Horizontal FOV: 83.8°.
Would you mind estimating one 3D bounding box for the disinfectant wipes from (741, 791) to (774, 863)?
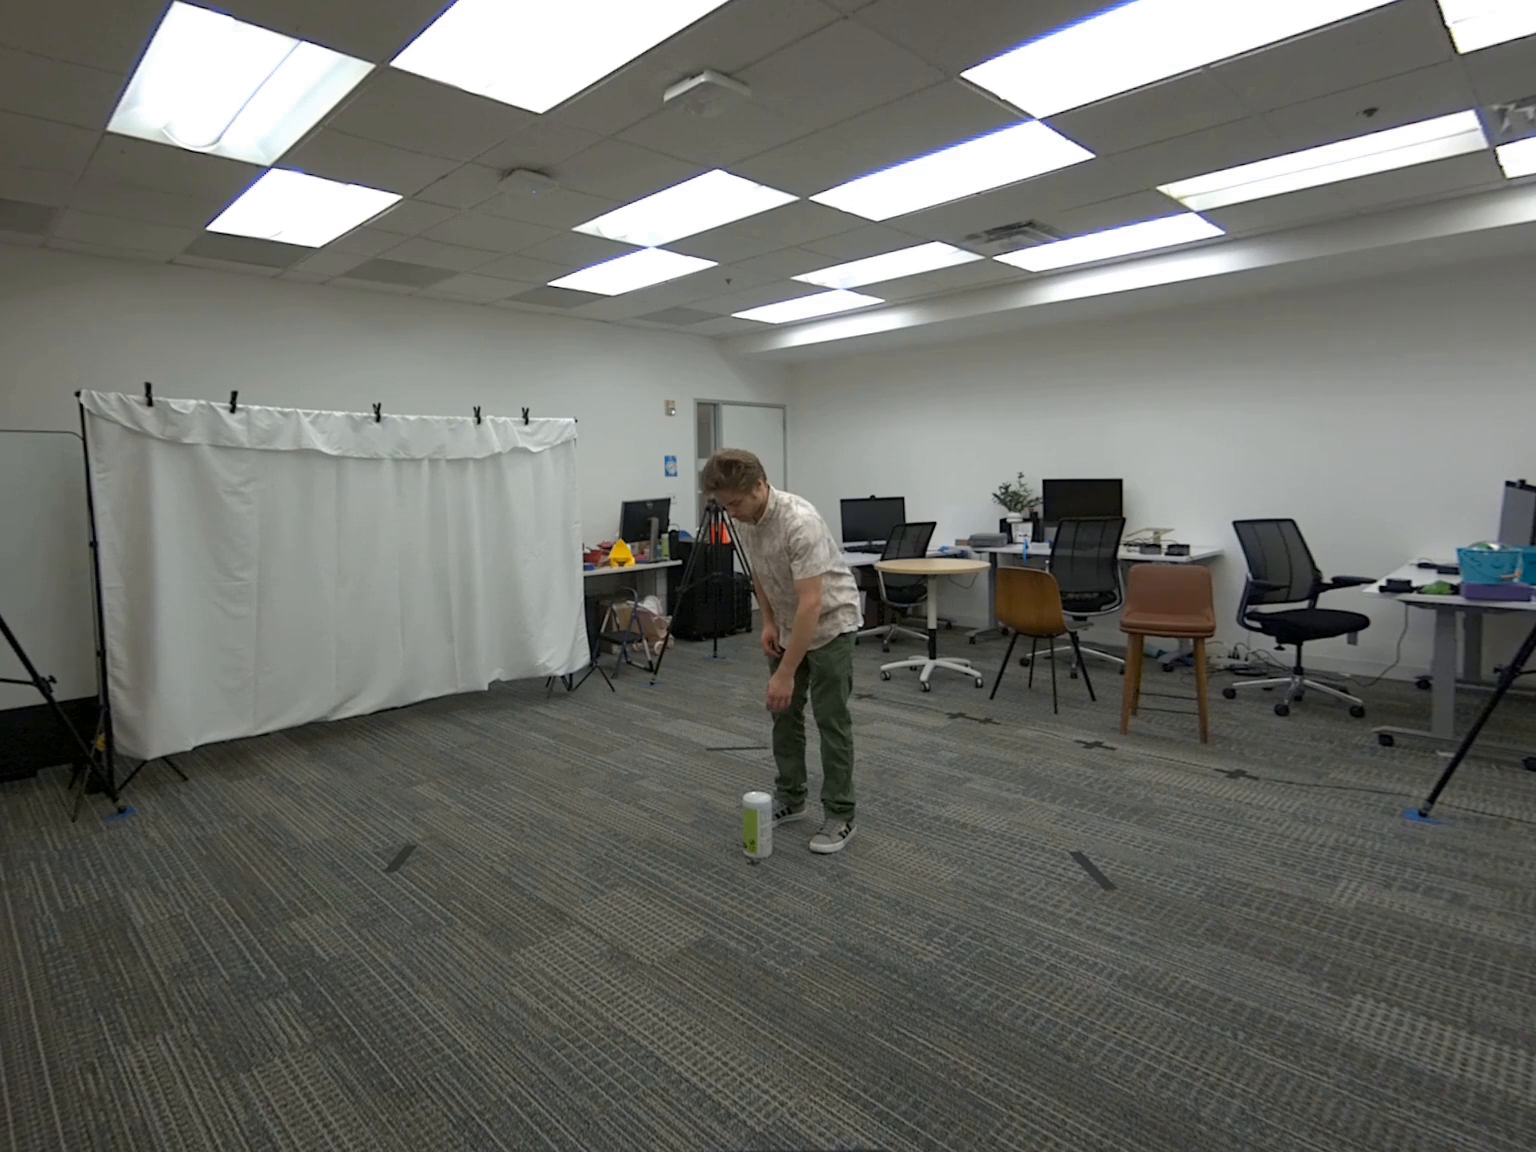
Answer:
[{"bbox_3d":[-0.035,0.927,3.182,0.118,0.217,0.118,-1,4,-2],"label":"disinfectant wipes"}]
